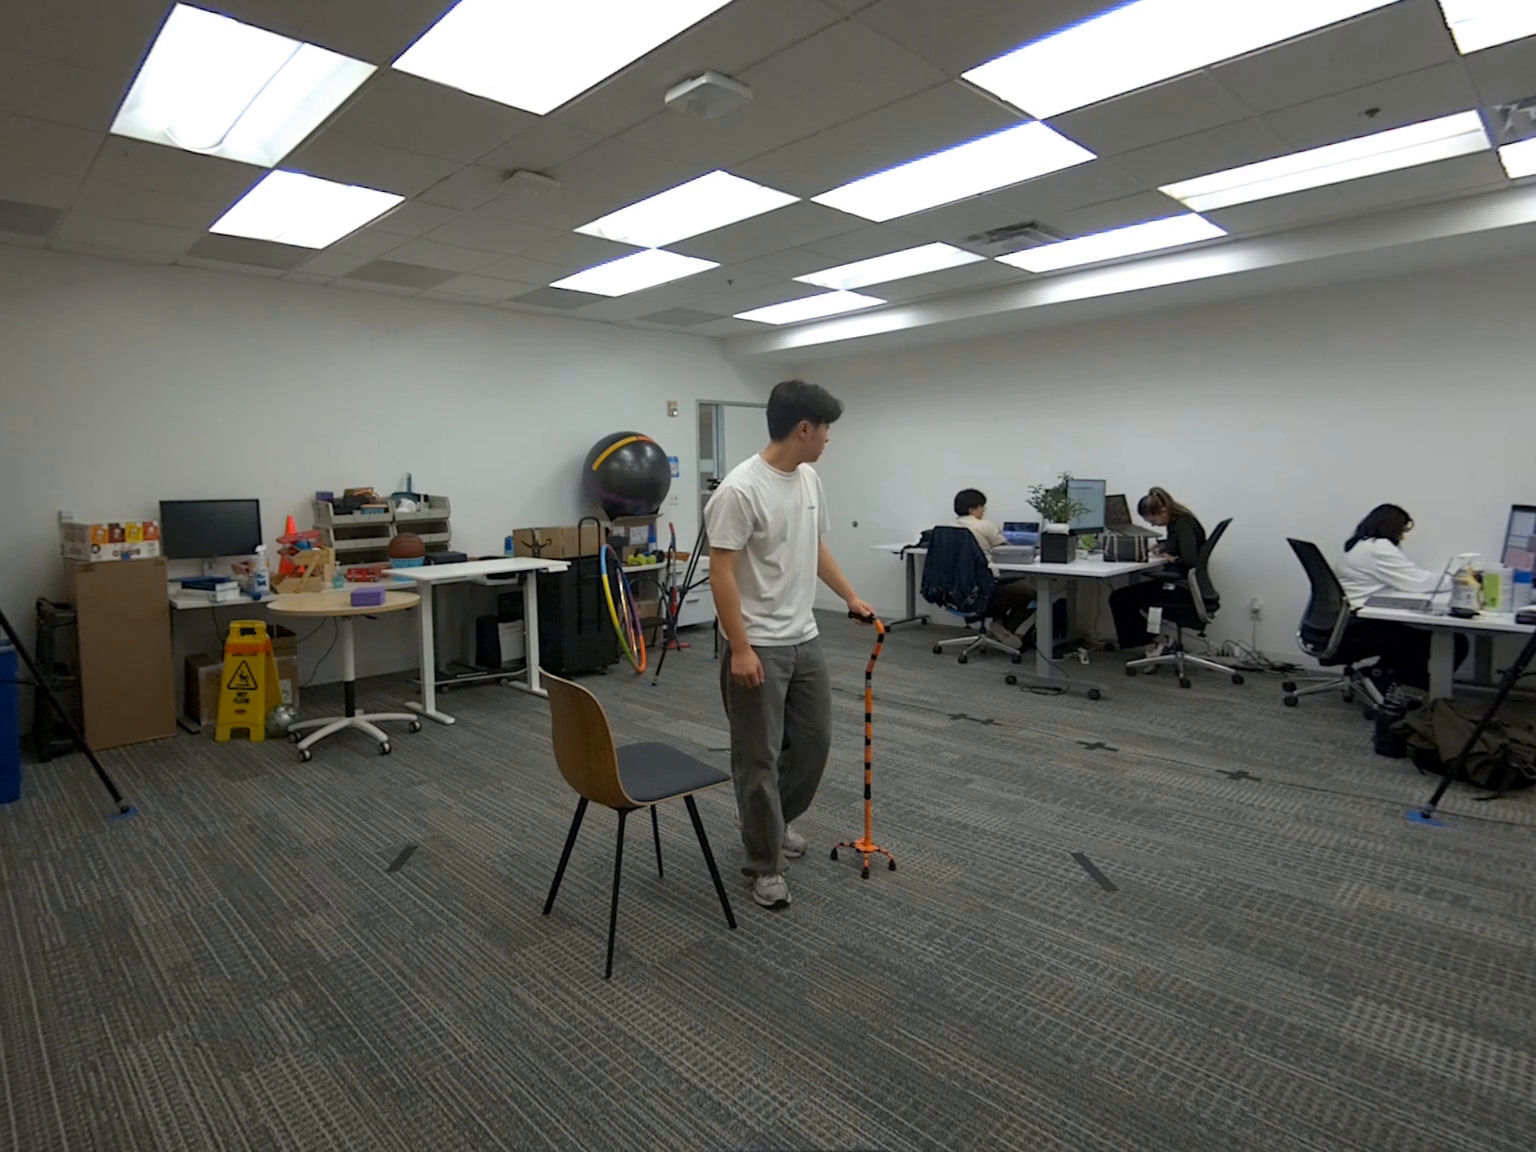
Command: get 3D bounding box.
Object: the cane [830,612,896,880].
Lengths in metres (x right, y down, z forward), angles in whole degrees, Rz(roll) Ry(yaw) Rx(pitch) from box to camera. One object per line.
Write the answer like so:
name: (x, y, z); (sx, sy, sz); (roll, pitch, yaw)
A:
cane: (0.346, 0.581, 3.055); (0.148, 0.905, 0.212); (-1, 4, -32)
